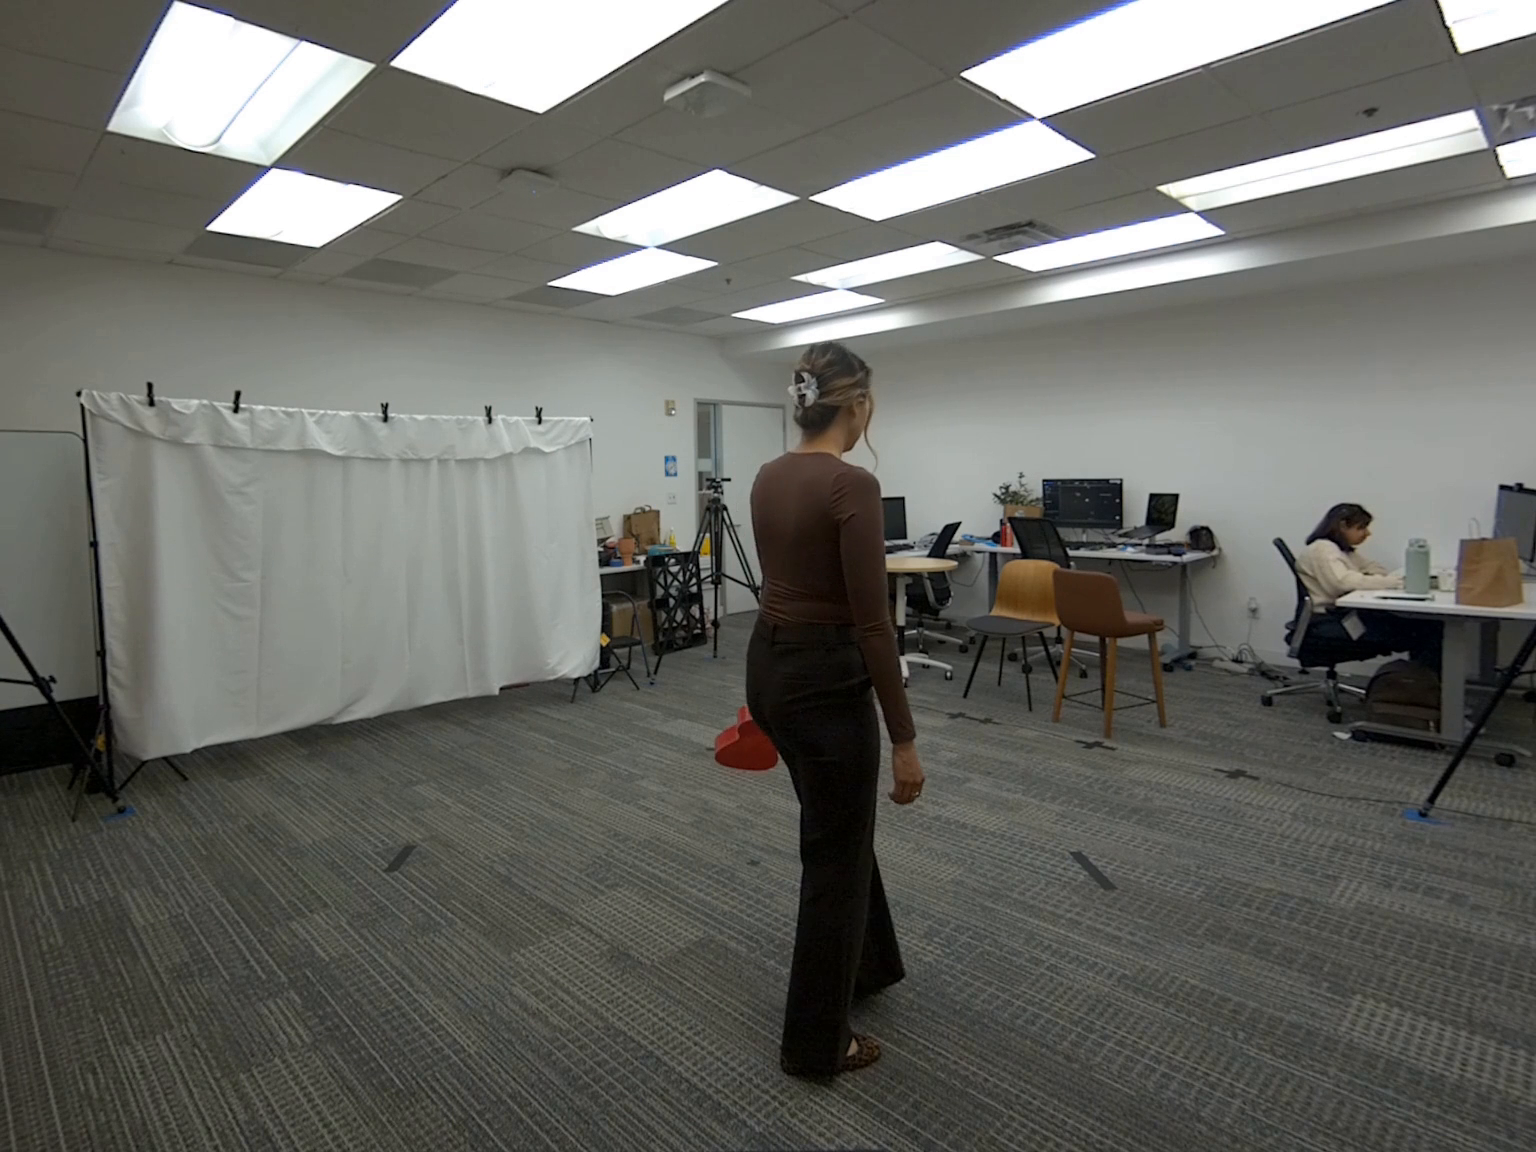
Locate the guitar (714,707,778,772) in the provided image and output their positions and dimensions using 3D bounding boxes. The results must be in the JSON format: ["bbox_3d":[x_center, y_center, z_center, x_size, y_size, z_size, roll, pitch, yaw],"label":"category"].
[{"bbox_3d":[-0.029,0.395,2.463,0.191,0.488,0.073,7,44,-9],"label":"guitar"}]
